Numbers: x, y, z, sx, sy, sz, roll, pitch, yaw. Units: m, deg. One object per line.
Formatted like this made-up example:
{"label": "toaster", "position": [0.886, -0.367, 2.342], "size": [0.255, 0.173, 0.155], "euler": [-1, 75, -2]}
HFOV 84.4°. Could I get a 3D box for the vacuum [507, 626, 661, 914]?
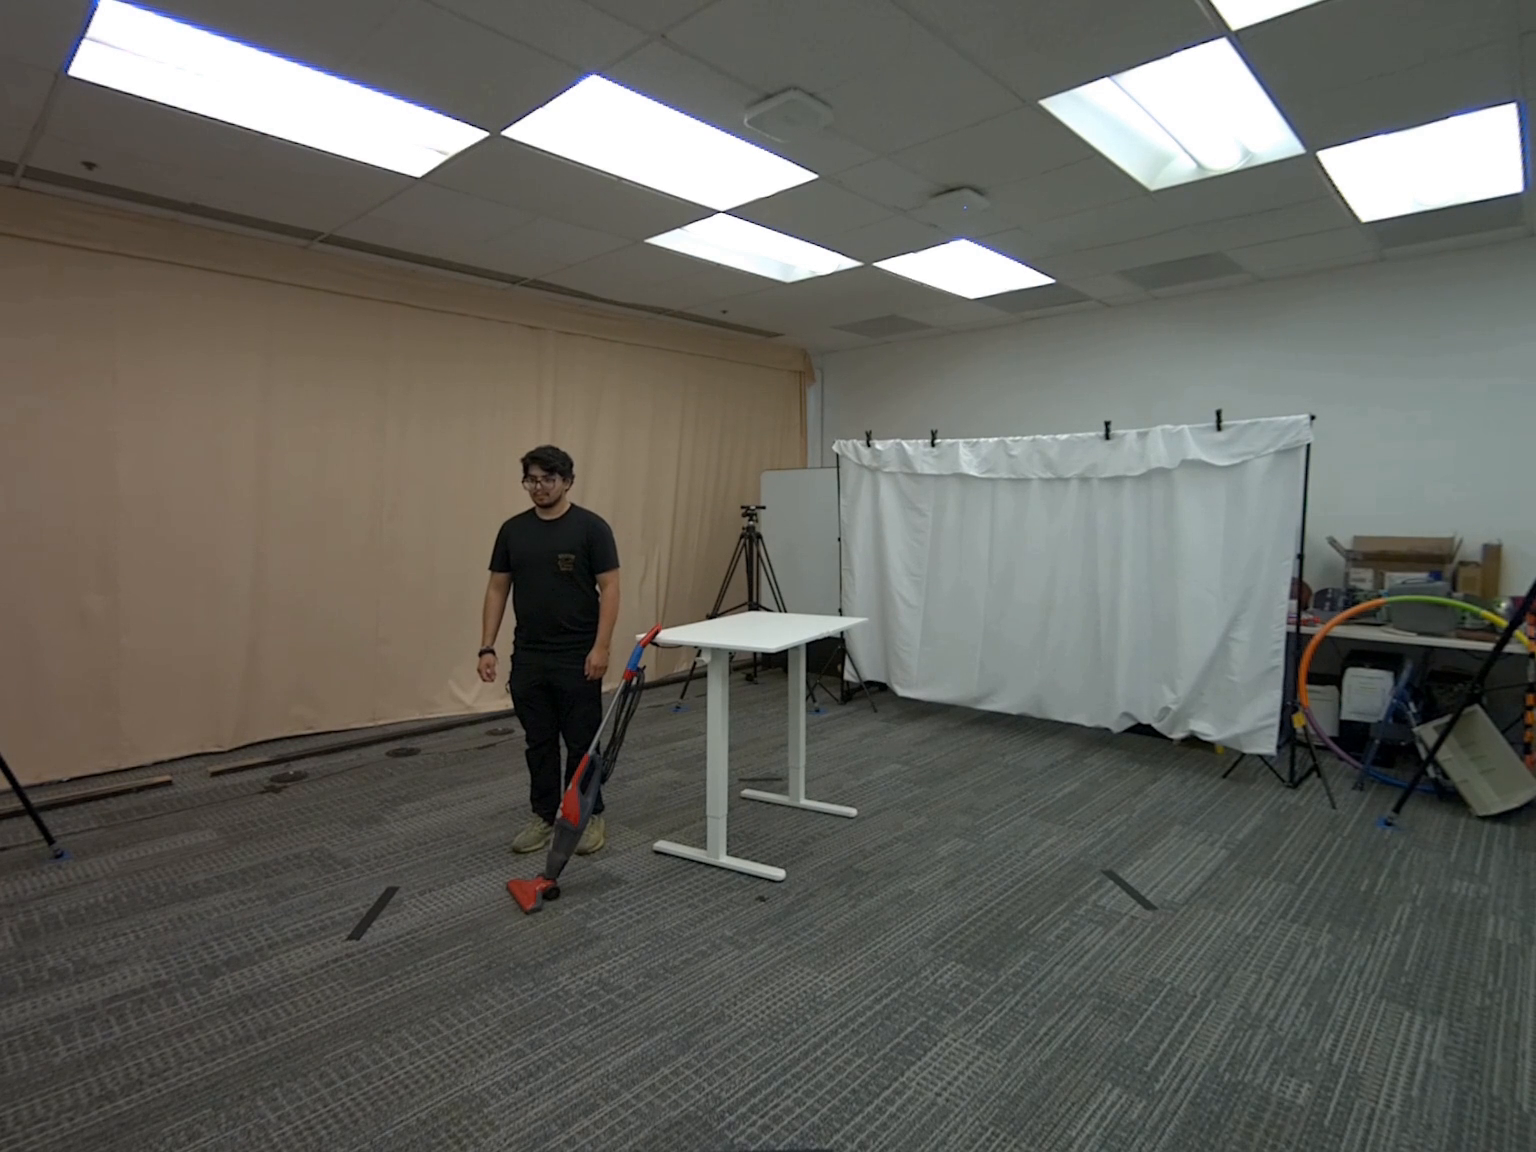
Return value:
{"label": "vacuum", "position": [-0.620, 0.664, 3.122], "size": [0.261, 1.051, 0.139], "euler": [10, -18, 49]}
